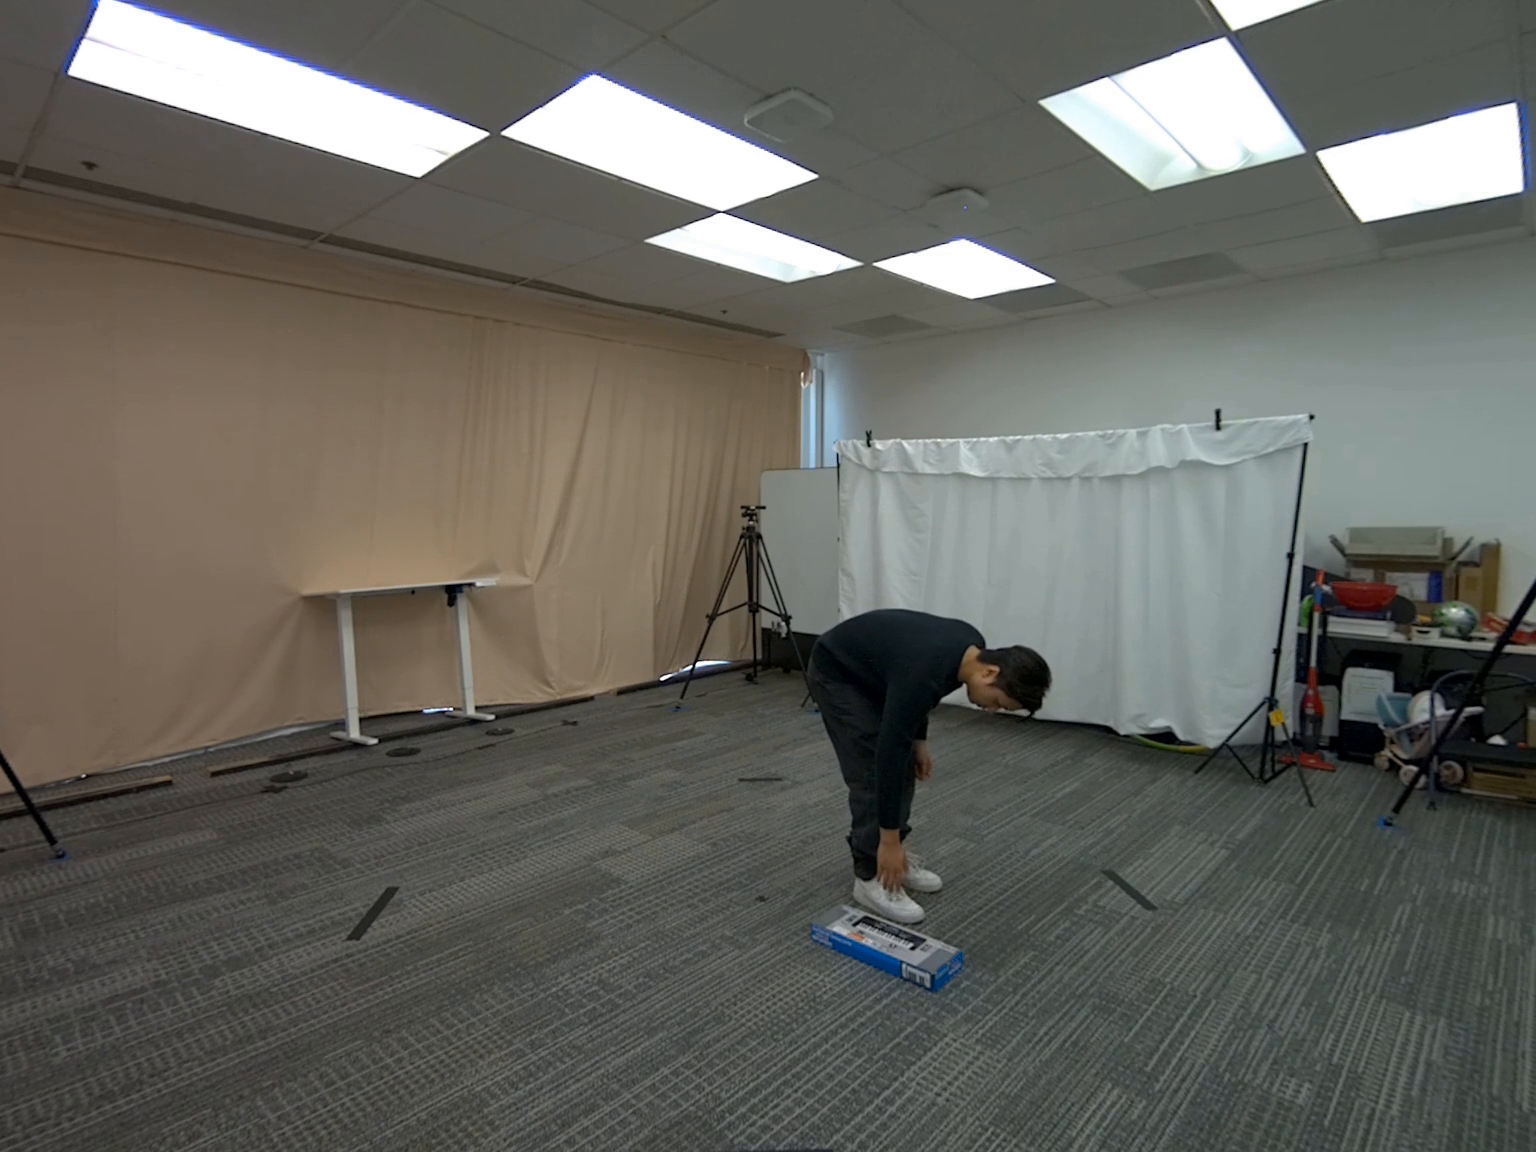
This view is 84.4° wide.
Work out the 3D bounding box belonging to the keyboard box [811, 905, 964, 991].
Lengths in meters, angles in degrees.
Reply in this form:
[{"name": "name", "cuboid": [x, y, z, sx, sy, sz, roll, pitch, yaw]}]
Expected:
[{"name": "keyboard box", "cuboid": [0.361, 1.143, 2.612, 0.451, 0.059, 0.171, 4, 7, 42]}]
